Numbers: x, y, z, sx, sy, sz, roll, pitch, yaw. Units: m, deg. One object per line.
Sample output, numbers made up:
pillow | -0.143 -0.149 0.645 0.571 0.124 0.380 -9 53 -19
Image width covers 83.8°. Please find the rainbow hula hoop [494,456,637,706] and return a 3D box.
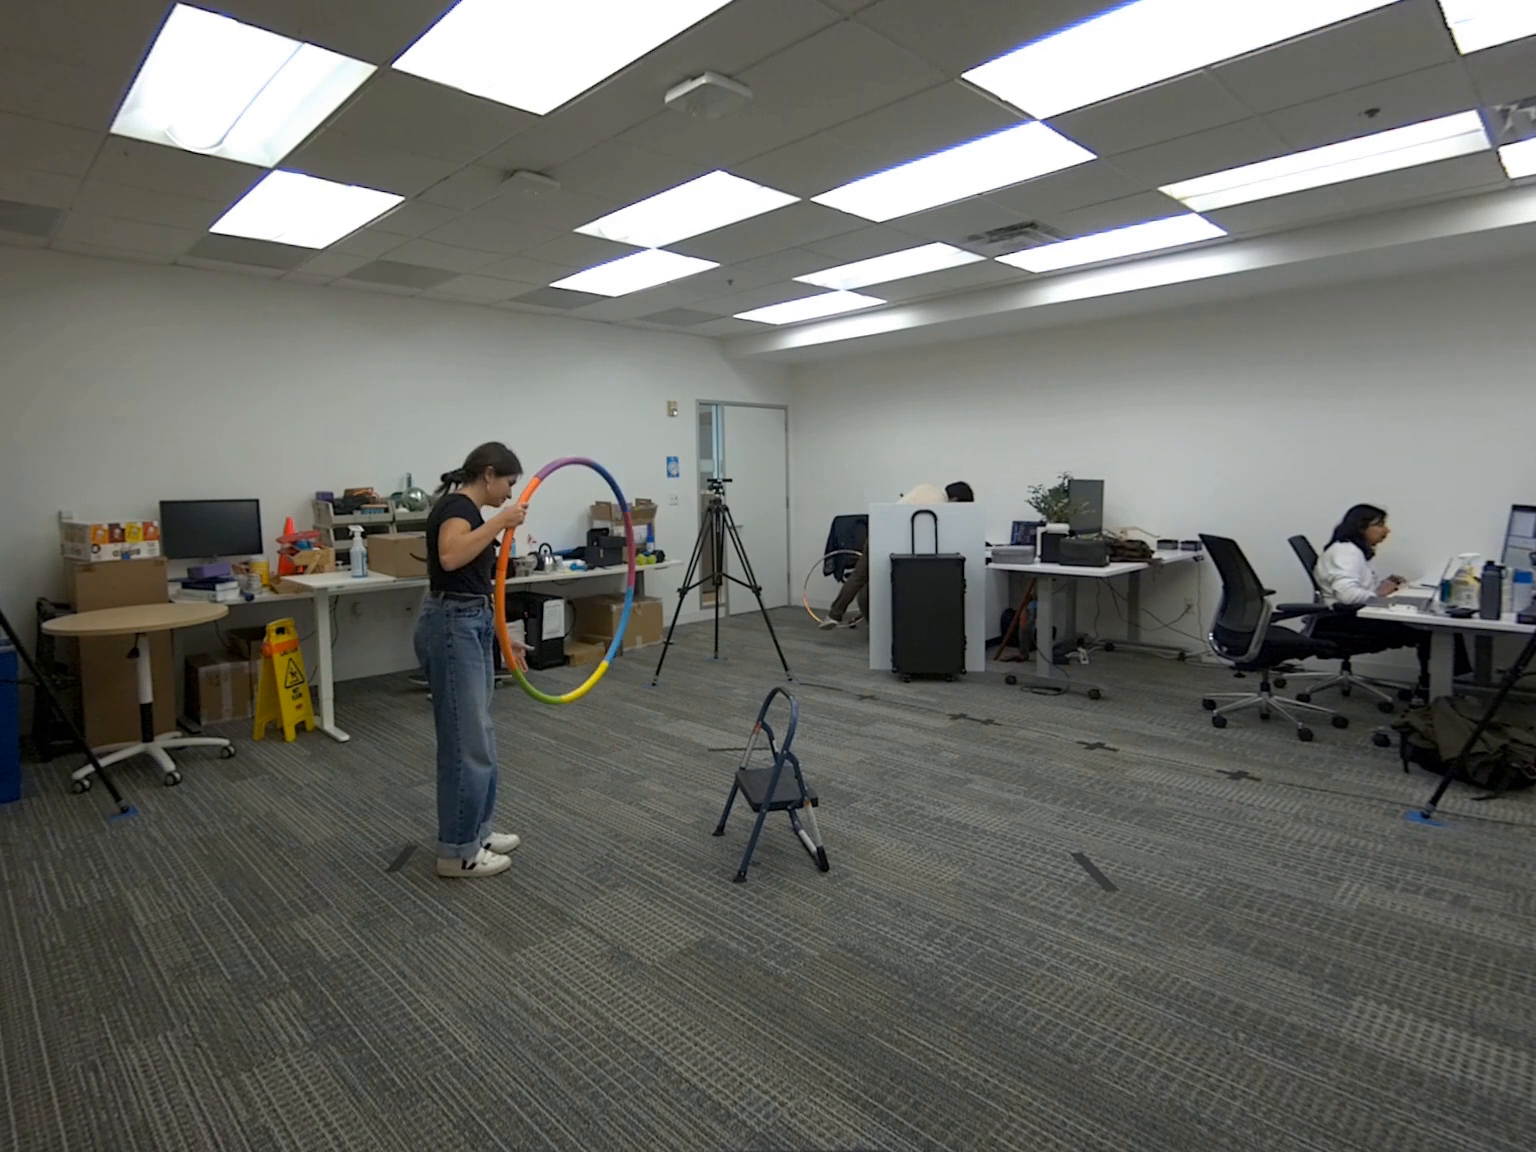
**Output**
rainbow hula hoop | -0.772 0.032 3.397 0.036 0.974 0.963 5 6 19
